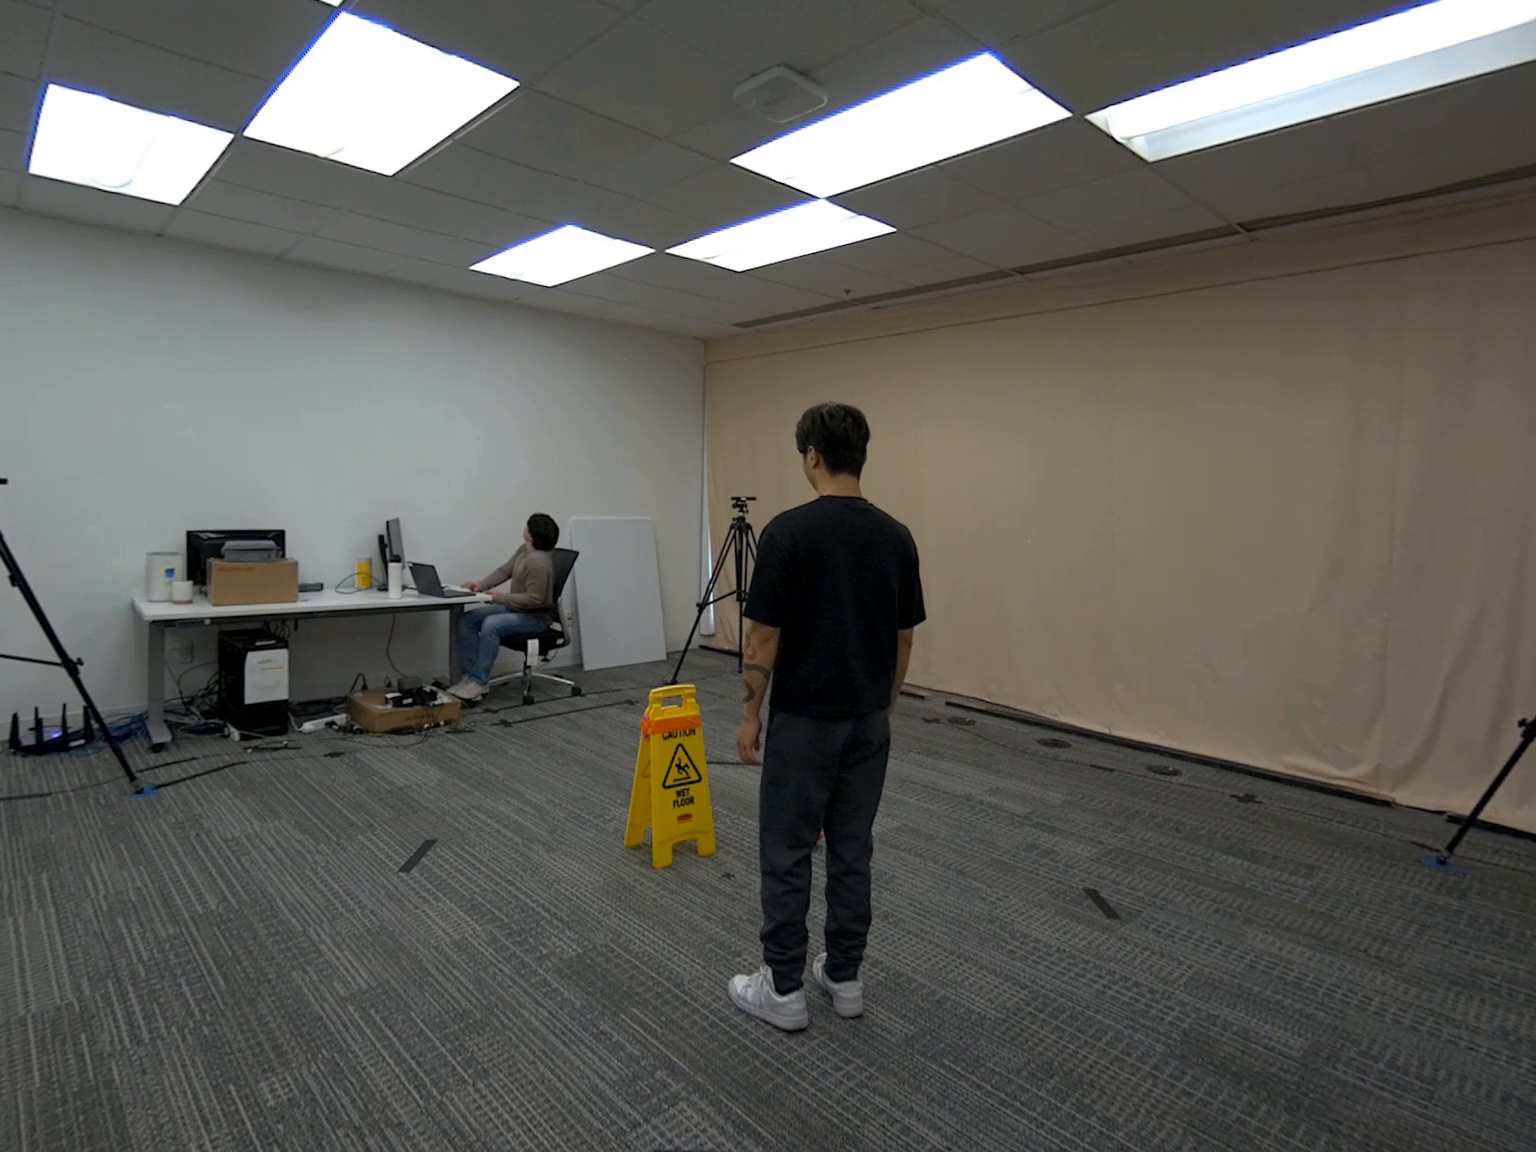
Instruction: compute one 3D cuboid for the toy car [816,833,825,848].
[{"bbox_3d":[0.101,1.062,3.427,0.259,0.083,0.127,-8,-3,35],"label":"toy car"}]
